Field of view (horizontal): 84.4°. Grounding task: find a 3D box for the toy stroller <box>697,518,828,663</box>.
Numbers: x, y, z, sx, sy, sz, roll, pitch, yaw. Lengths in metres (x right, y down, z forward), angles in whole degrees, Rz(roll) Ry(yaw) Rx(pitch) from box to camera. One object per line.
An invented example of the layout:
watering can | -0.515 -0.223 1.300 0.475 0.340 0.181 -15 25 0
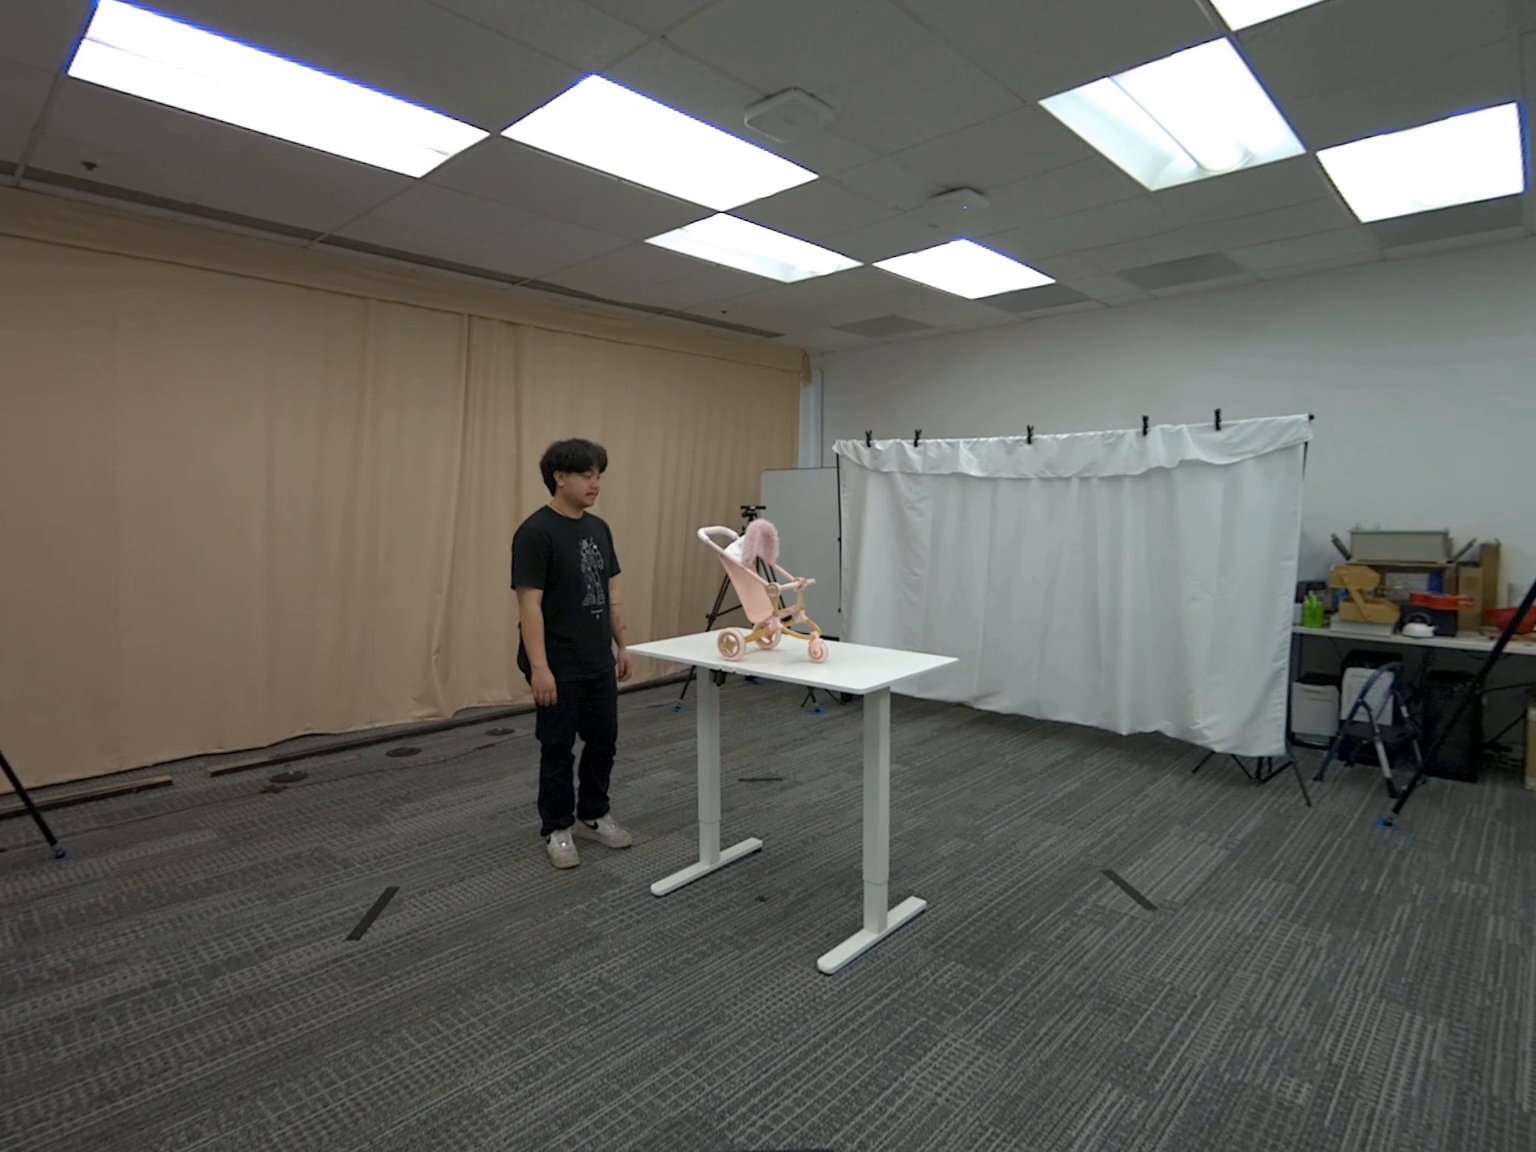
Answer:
toy stroller | -0.002 0.052 2.825 0.349 0.537 0.273 -16 -6 34
